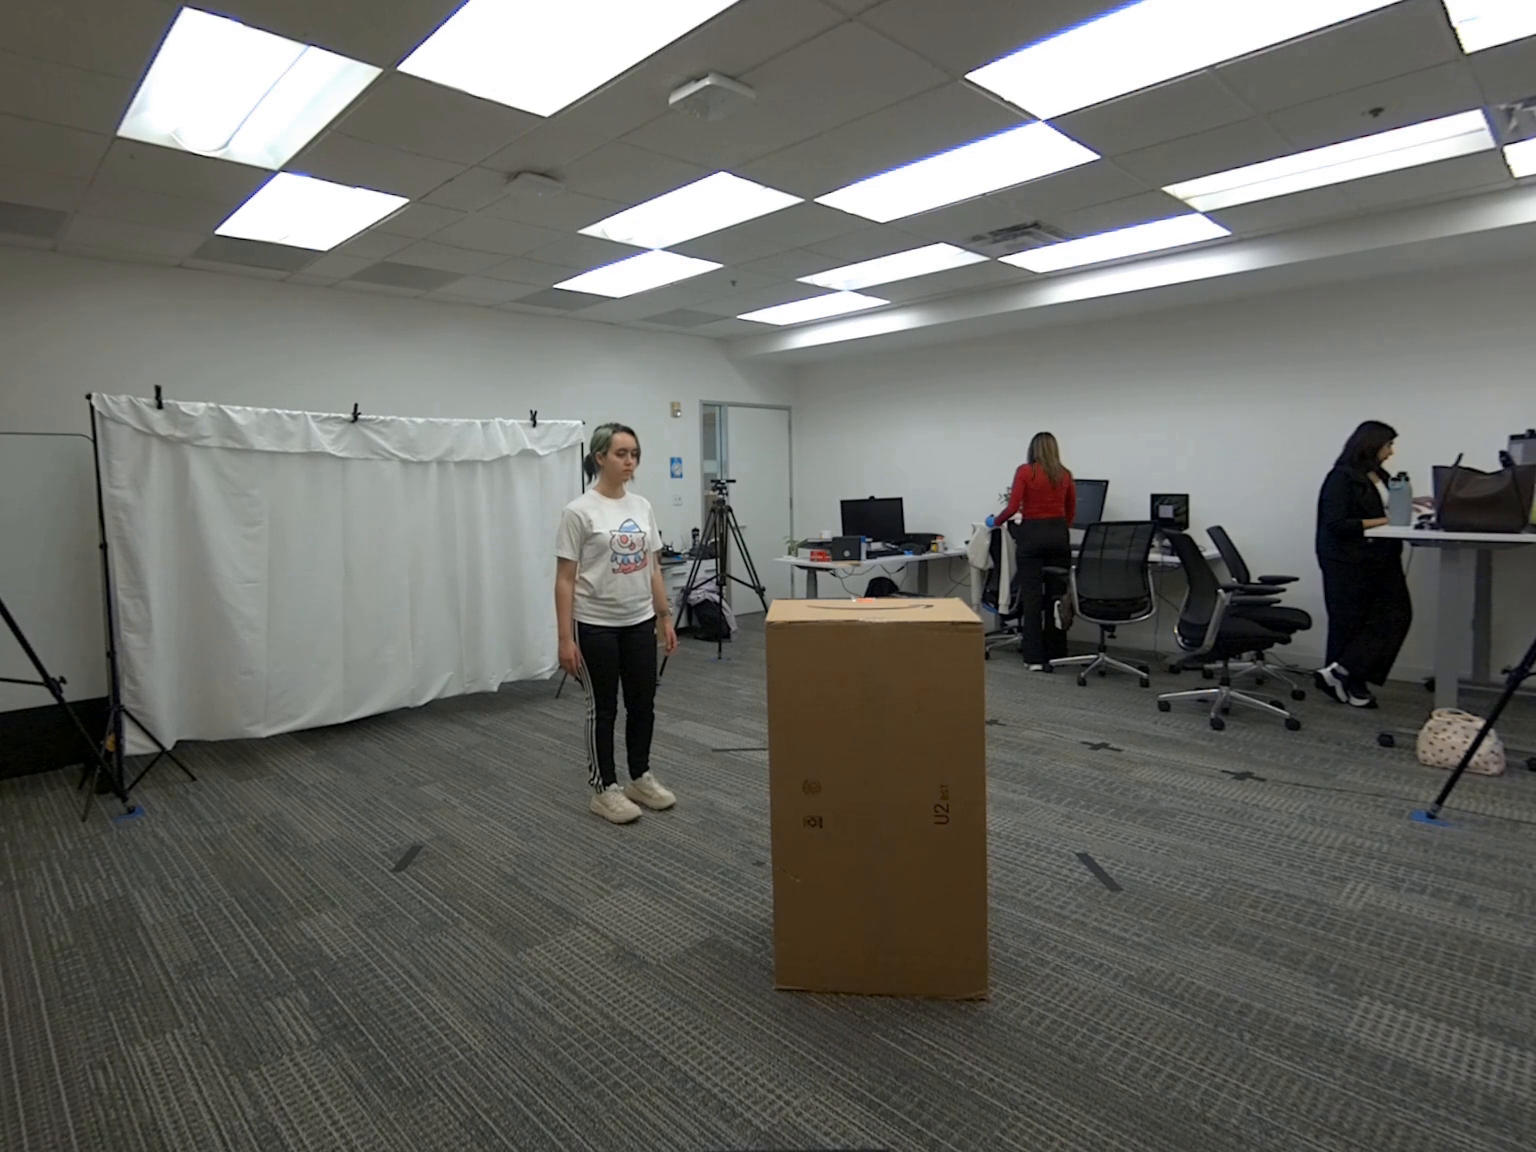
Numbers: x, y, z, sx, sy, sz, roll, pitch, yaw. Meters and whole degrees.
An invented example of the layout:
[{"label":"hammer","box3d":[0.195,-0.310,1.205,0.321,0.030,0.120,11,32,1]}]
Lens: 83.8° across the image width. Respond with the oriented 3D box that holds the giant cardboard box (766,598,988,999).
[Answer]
[{"label":"giant cardboard box","box3d":[0.308,0.604,2.481,0.587,1.023,0.446,-1,4,6]}]
